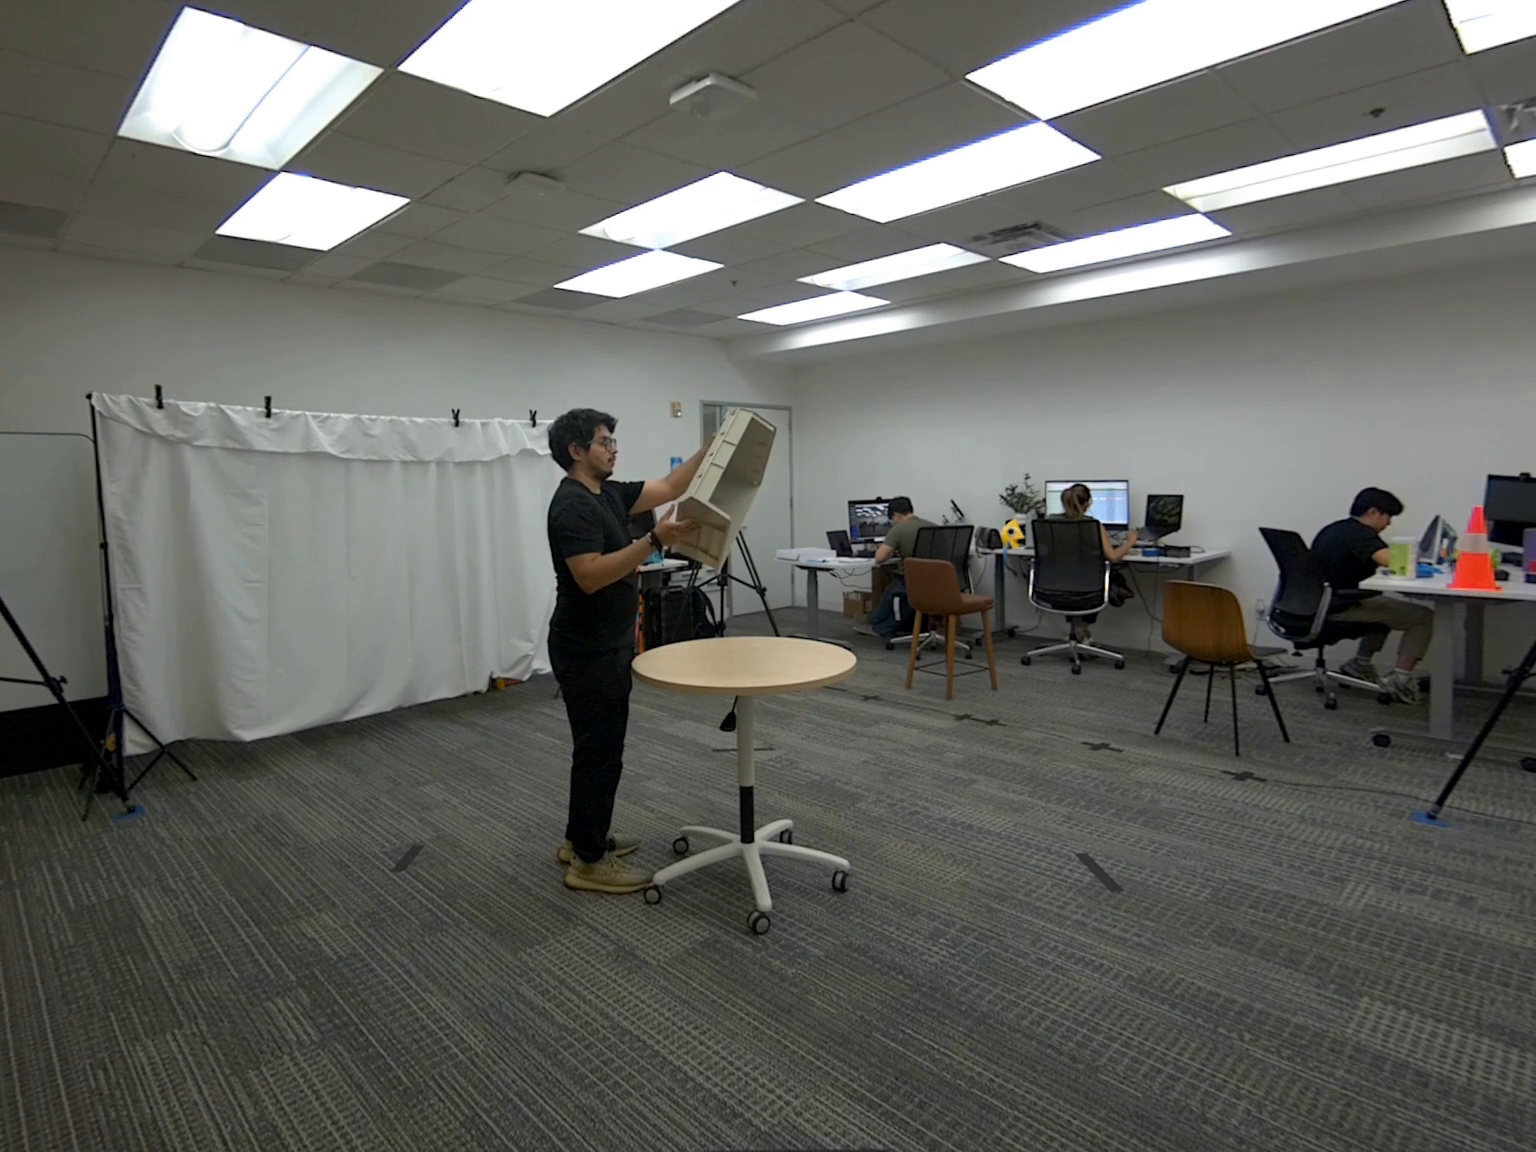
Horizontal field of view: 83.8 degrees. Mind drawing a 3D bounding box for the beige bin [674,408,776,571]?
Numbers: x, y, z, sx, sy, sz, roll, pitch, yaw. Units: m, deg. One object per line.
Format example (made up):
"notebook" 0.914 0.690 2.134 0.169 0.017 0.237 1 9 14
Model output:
"beige bin" -0.146 -0.288 2.872 0.190 0.427 0.371 22 -32 1
